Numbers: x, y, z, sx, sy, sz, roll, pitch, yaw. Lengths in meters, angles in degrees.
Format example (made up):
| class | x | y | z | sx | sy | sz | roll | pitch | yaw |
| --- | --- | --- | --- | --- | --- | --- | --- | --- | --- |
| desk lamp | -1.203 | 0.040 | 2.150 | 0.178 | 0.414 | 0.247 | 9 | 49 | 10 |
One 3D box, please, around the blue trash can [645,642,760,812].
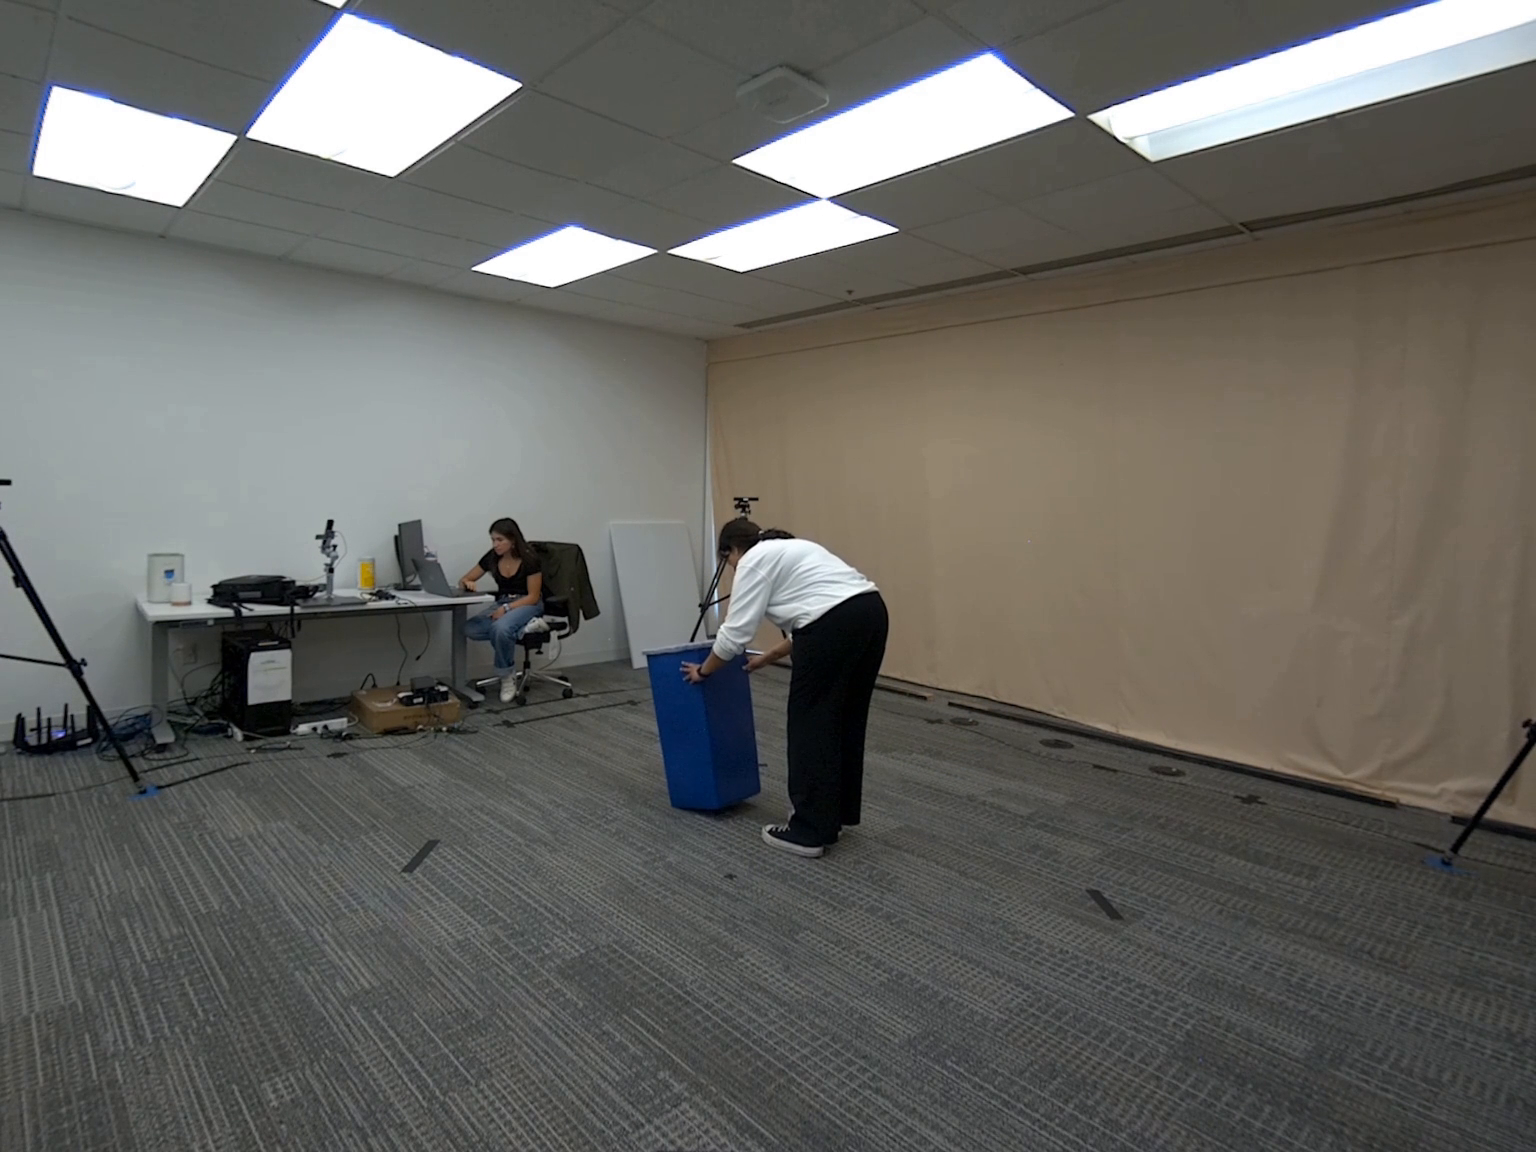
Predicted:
| class | x | y | z | sx | sy | sz | roll | pitch | yaw |
| --- | --- | --- | --- | --- | --- | --- | --- | --- | --- |
| blue trash can | -0.302 | 0.663 | 3.856 | 0.381 | 0.716 | 0.369 | -11 | -6 | 39 |
